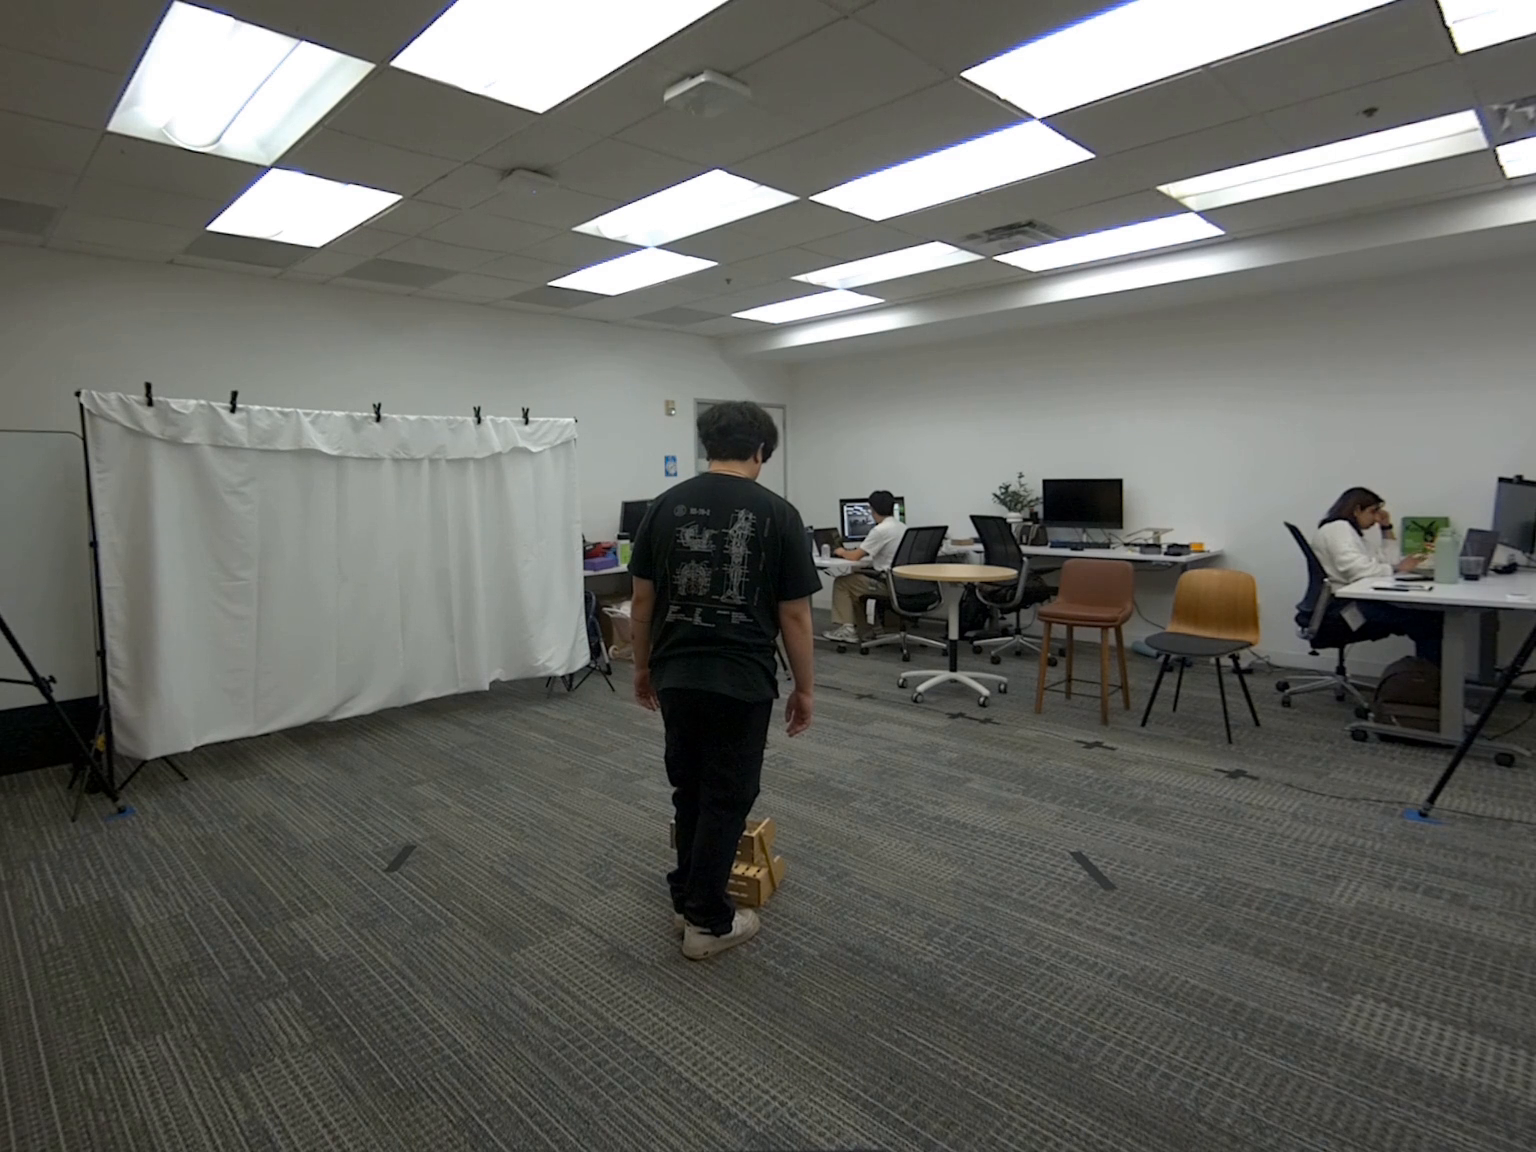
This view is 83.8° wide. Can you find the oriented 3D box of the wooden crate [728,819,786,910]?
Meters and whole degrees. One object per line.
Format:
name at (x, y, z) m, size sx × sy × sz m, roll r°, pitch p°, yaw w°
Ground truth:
wooden crate at (-0.123, 0.928, 2.931) m, size 0.331 × 0.272 × 0.297 m, roll 1°, pitch 6°, yaw 23°
